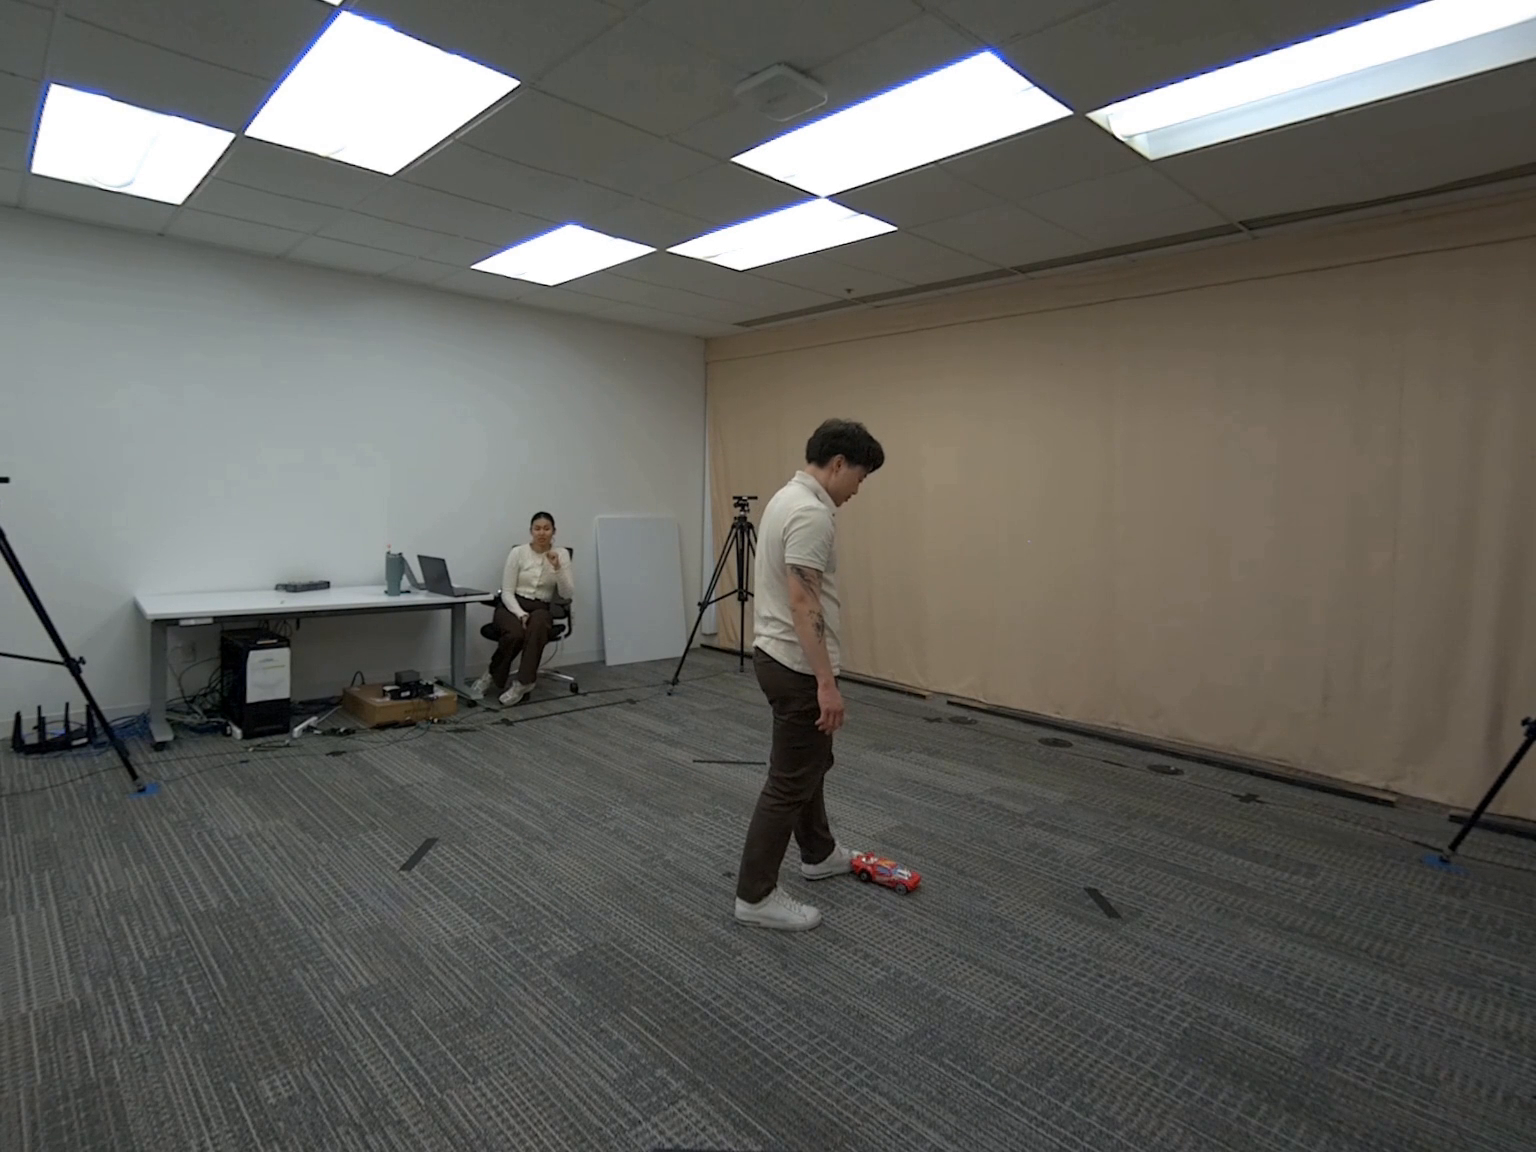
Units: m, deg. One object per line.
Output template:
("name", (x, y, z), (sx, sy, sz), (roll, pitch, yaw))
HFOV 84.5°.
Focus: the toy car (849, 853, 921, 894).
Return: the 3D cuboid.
("toy car", (0.411, 1.085, 3.077), (0.262, 0.083, 0.127), (19, 13, 34))
